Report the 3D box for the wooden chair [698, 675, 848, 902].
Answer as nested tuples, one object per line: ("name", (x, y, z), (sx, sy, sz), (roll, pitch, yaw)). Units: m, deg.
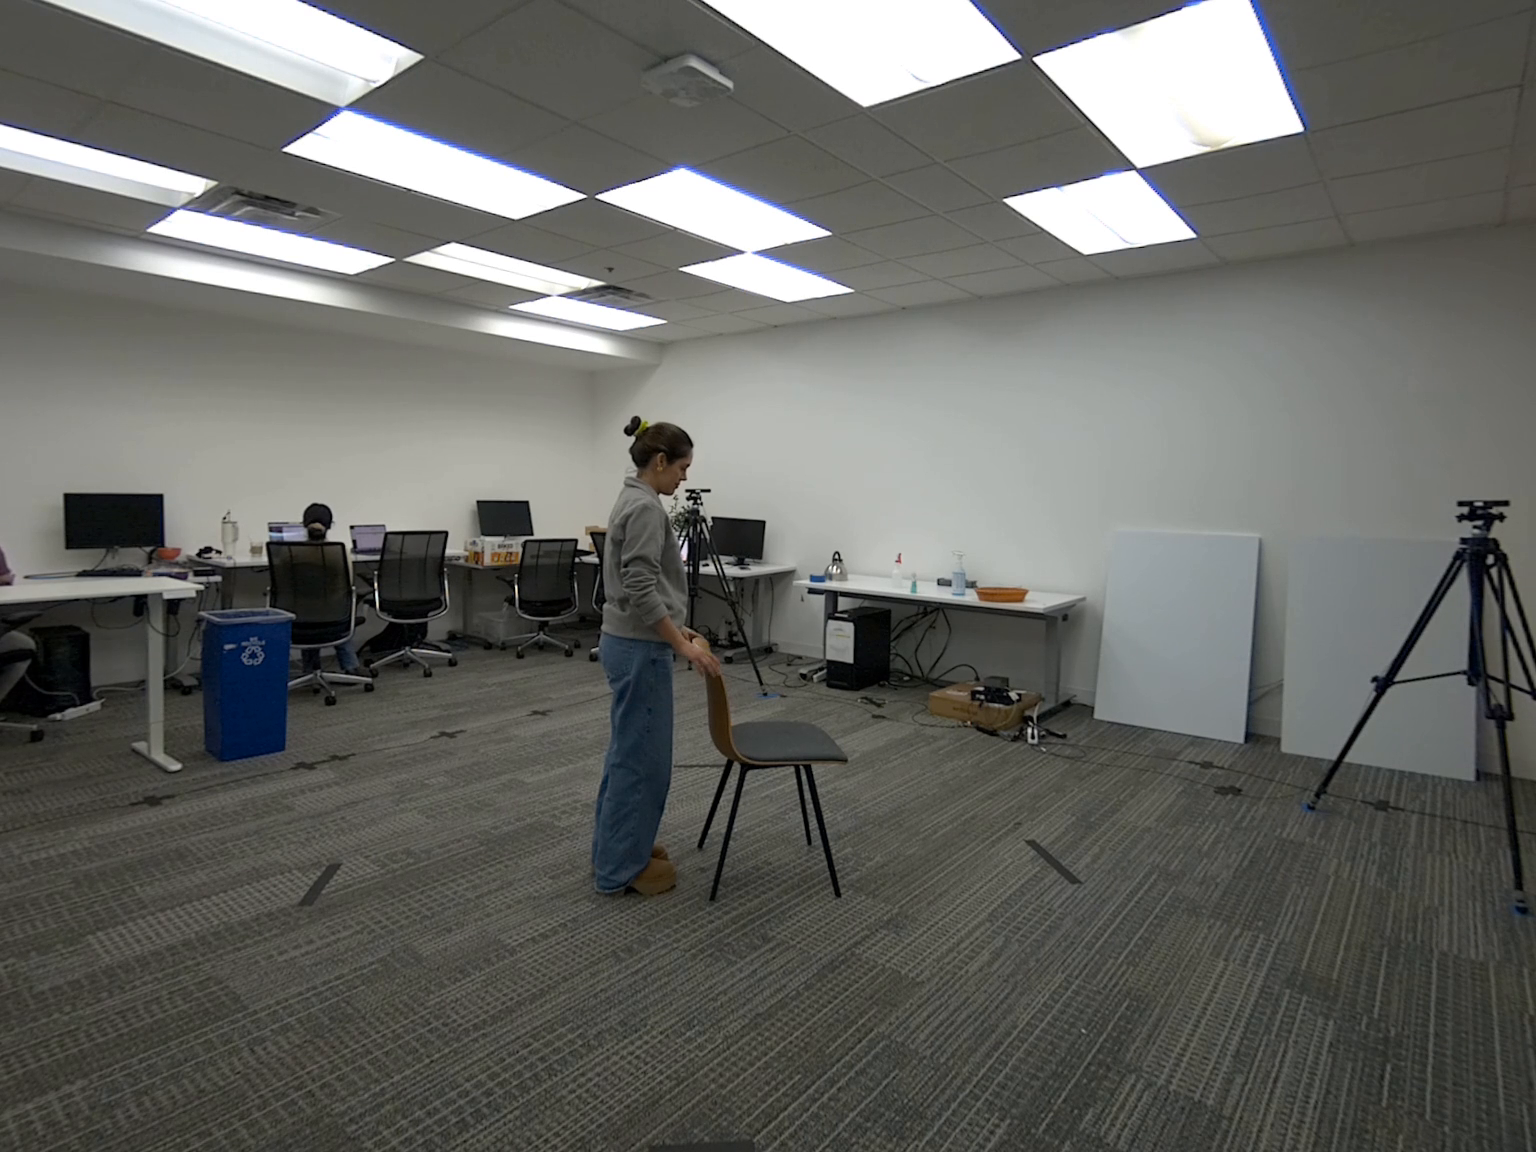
("wooden chair", (0.000, 0.652, 3.095), (0.519, 0.875, 0.483), (-3, 3, -8))
